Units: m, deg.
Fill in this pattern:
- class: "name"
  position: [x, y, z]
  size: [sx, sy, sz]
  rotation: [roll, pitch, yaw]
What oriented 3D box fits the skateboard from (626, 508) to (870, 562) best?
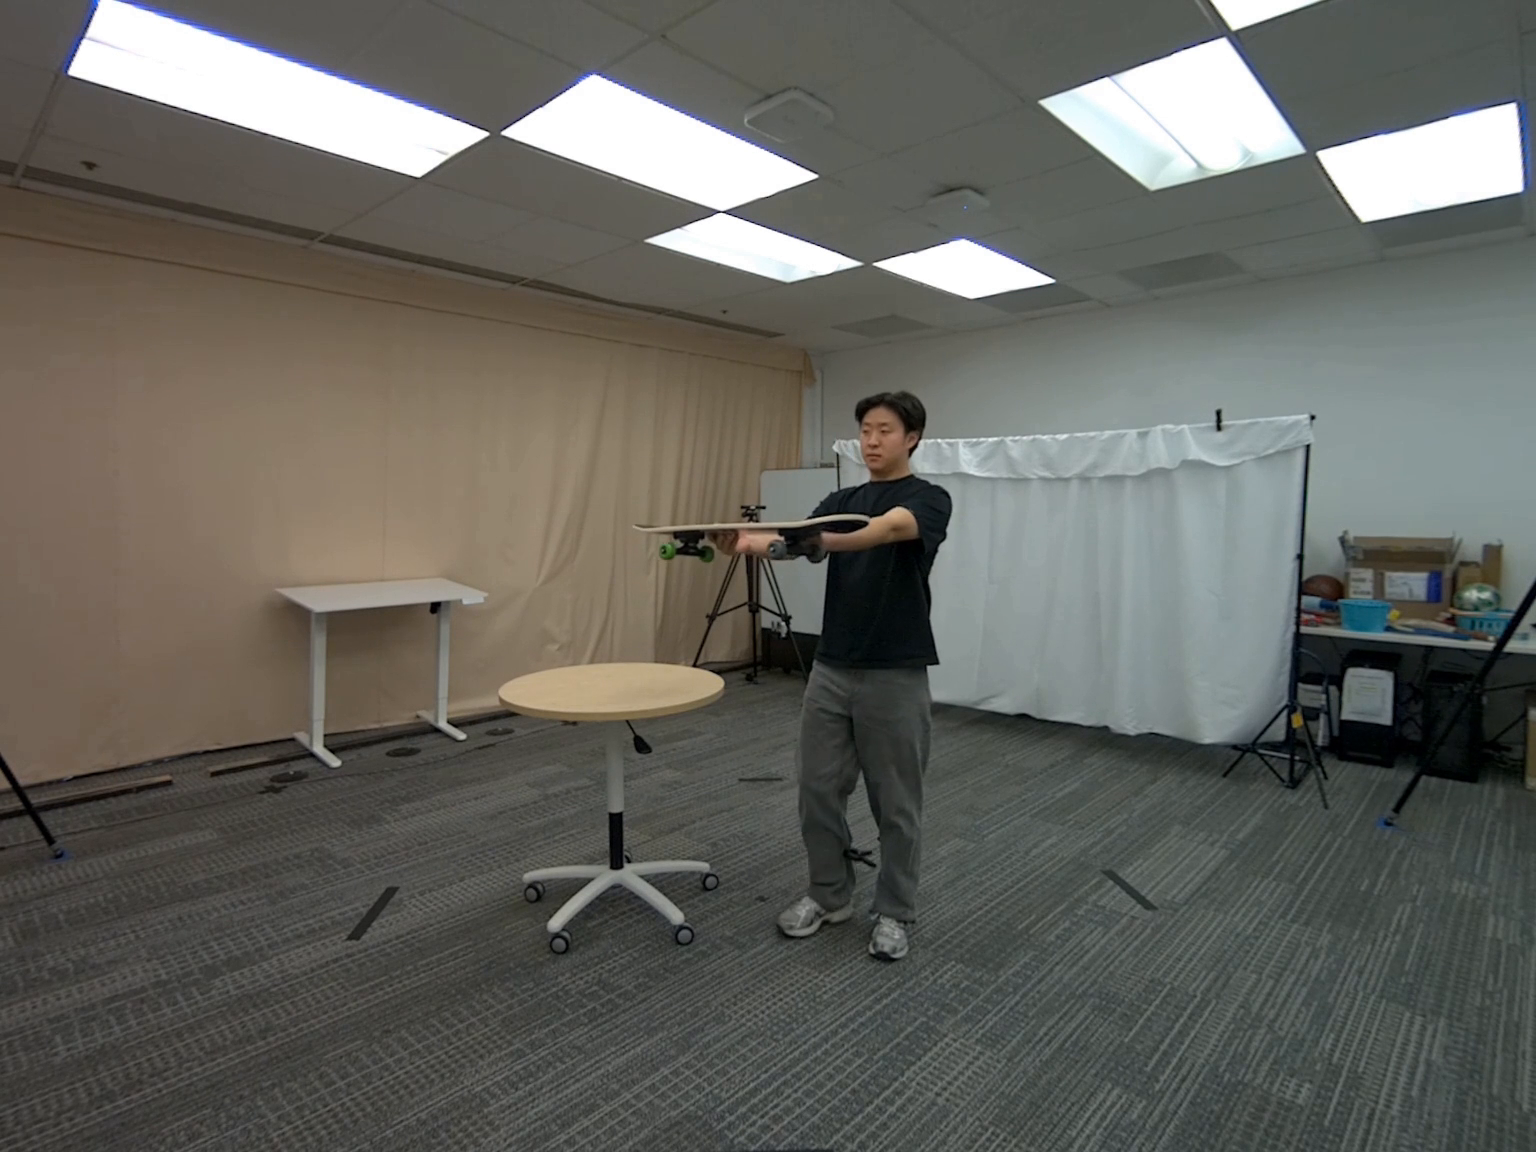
- class: "skateboard"
  position: [-0.067, -0.100, 2.233]
  size: [0.187, 0.110, 0.811]
  rotation: [2, -1, -43]
